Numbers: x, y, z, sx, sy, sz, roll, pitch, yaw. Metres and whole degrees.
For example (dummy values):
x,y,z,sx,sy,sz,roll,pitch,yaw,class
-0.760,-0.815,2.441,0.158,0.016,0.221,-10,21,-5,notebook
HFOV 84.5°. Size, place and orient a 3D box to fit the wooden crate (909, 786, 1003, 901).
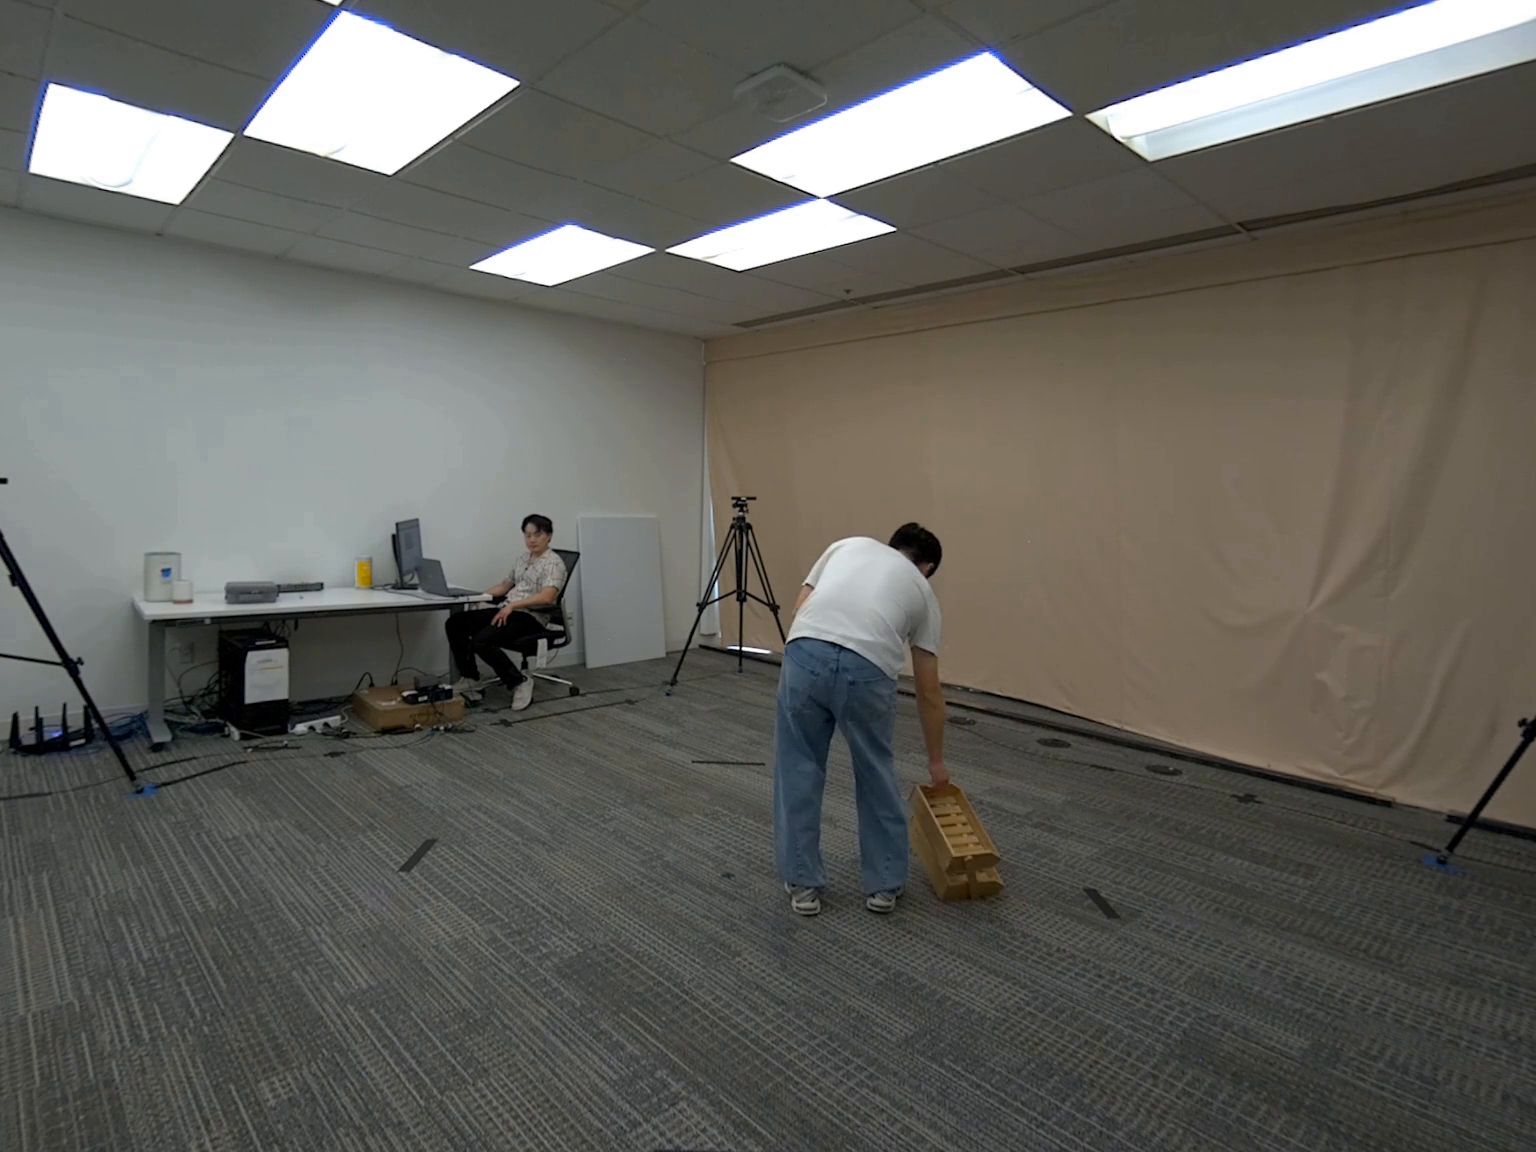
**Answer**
x,y,z,sx,sy,sz,roll,pitch,yaw,class
0.675,0.942,3.012,0.297,0.269,0.334,0,35,-20,wooden crate
